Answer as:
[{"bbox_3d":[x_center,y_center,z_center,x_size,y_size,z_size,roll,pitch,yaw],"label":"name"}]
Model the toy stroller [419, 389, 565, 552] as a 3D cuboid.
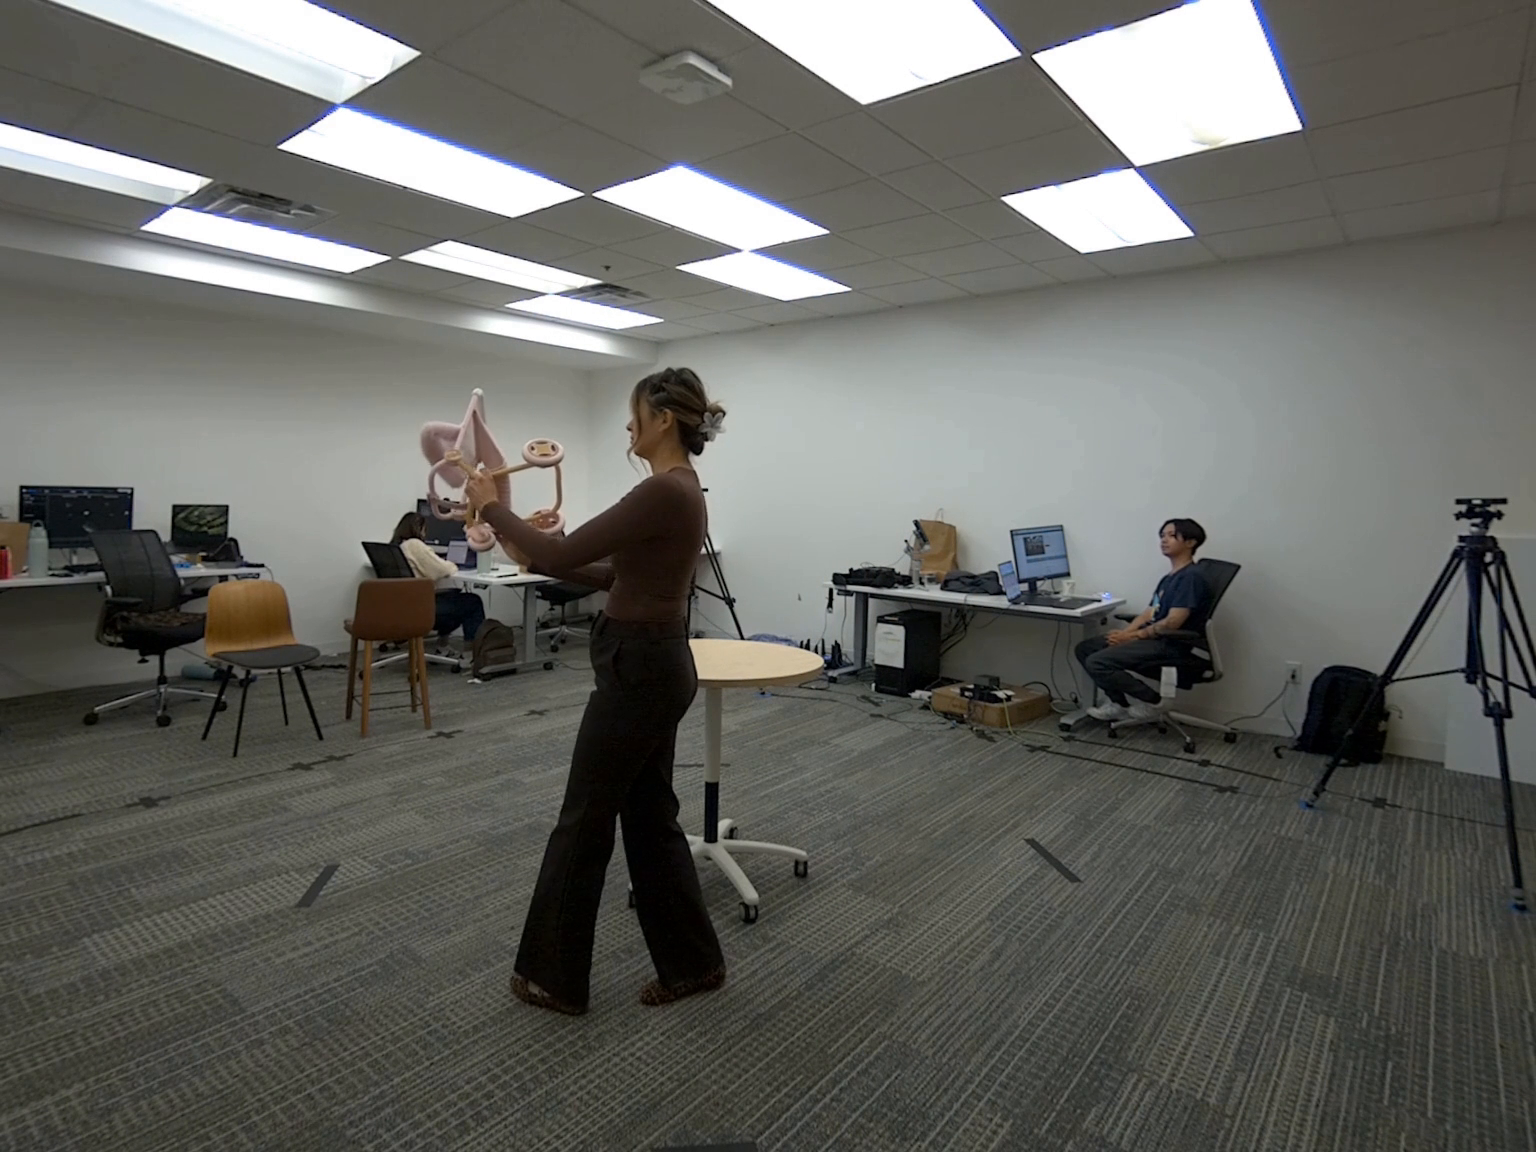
[{"bbox_3d":[-0.808,-0.278,2.354,0.338,0.274,0.555,-32,57,-30],"label":"toy stroller"}]
